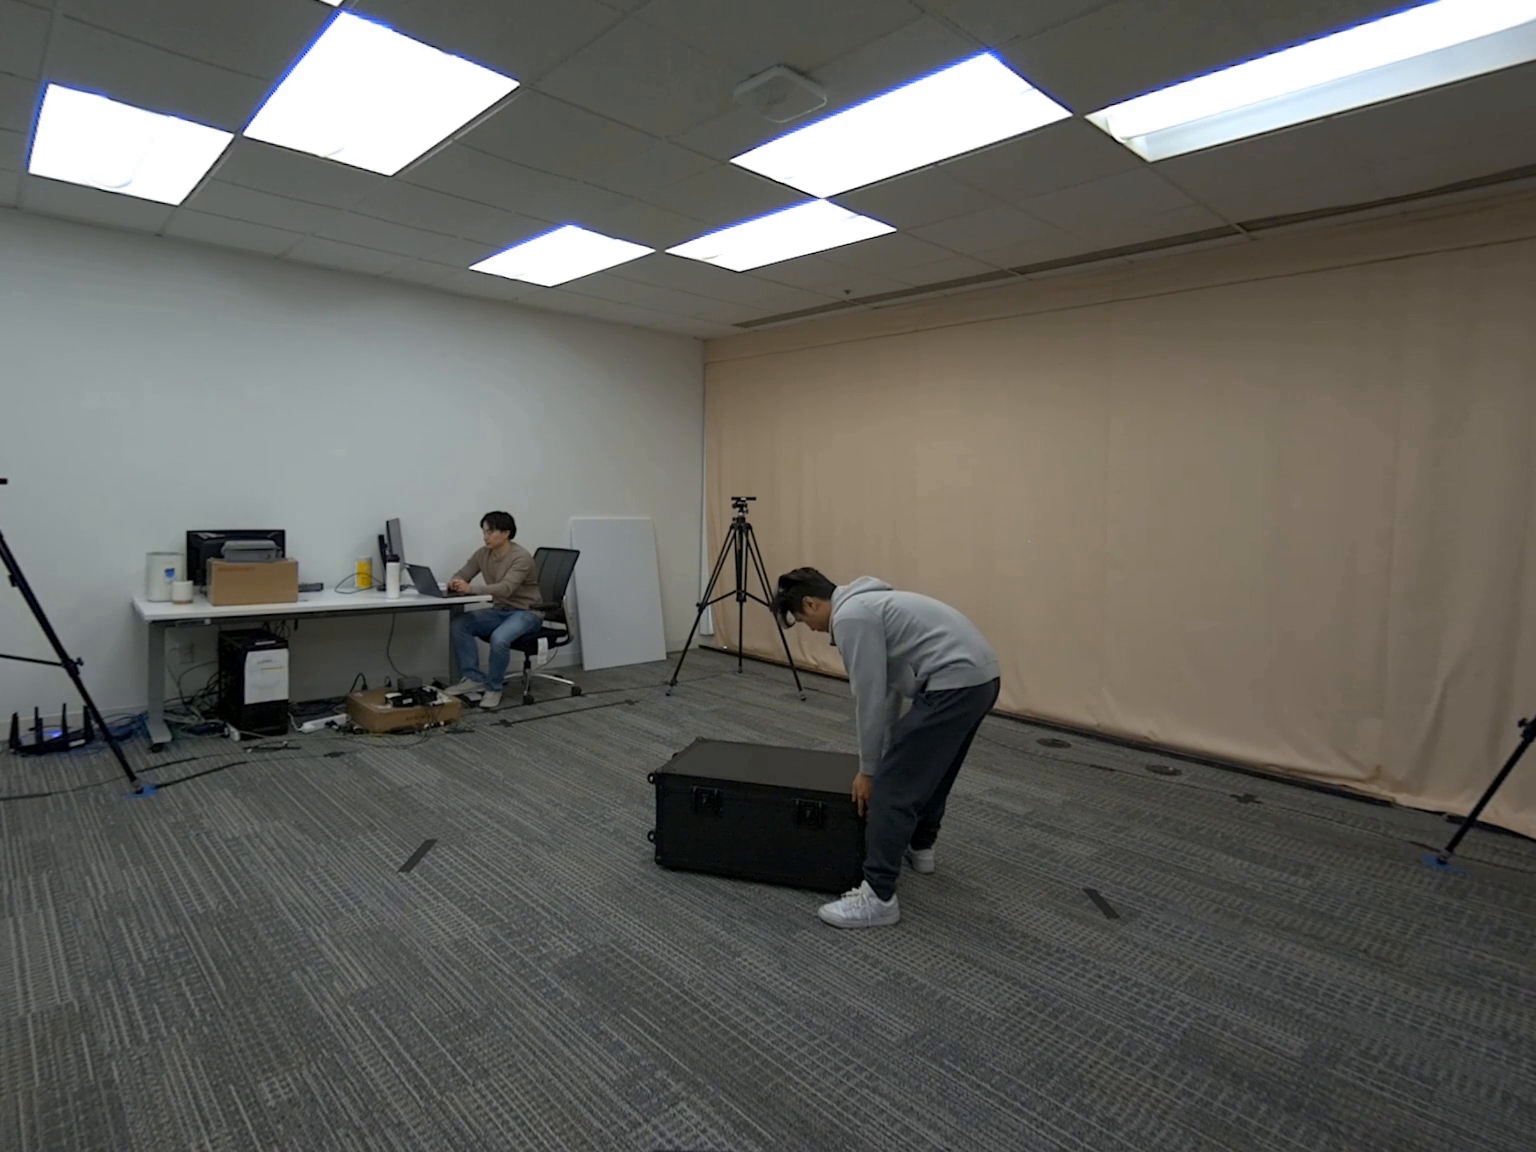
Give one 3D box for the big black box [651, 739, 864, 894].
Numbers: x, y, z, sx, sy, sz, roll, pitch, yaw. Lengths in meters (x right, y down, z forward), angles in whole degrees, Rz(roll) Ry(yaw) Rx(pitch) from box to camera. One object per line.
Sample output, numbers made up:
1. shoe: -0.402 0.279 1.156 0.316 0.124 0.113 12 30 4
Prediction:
1. big black box: -0.020 0.899 3.260 0.873 0.395 0.515 4 4 16
